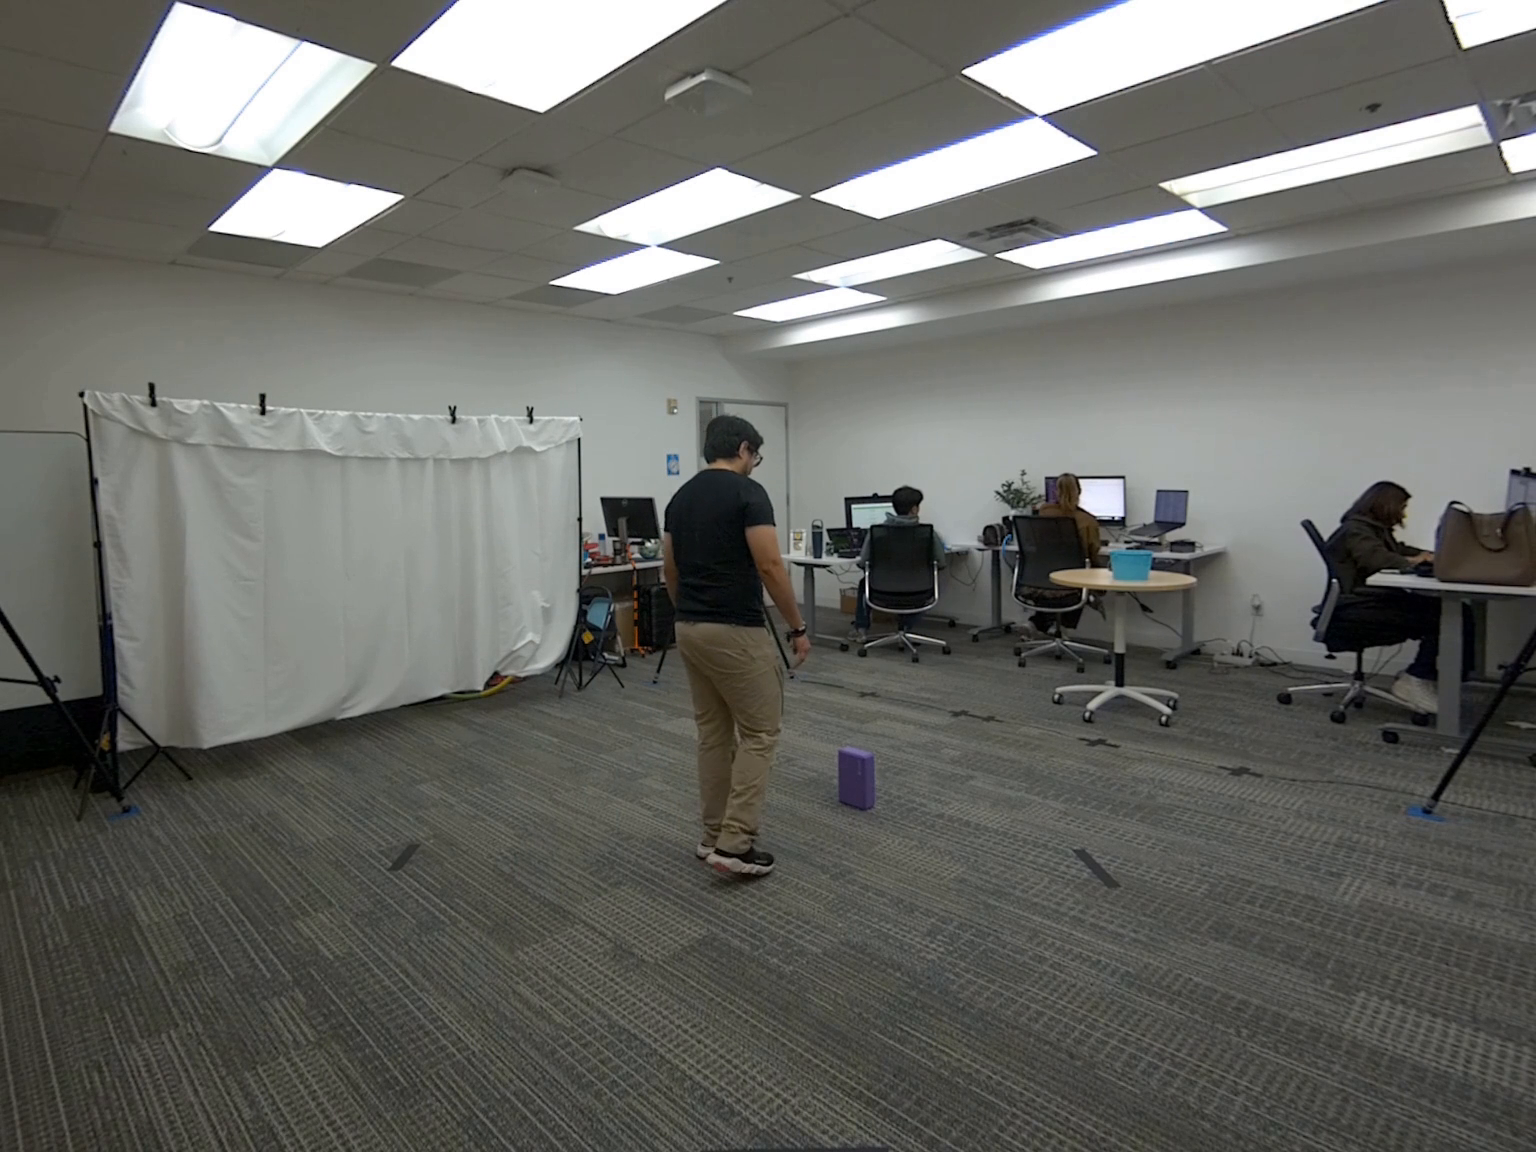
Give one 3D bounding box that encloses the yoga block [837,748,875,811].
[{"bbox_3d":[0.377,0.853,3.621,0.074,0.228,0.153,-5,6,-44],"label":"yoga block"}]
